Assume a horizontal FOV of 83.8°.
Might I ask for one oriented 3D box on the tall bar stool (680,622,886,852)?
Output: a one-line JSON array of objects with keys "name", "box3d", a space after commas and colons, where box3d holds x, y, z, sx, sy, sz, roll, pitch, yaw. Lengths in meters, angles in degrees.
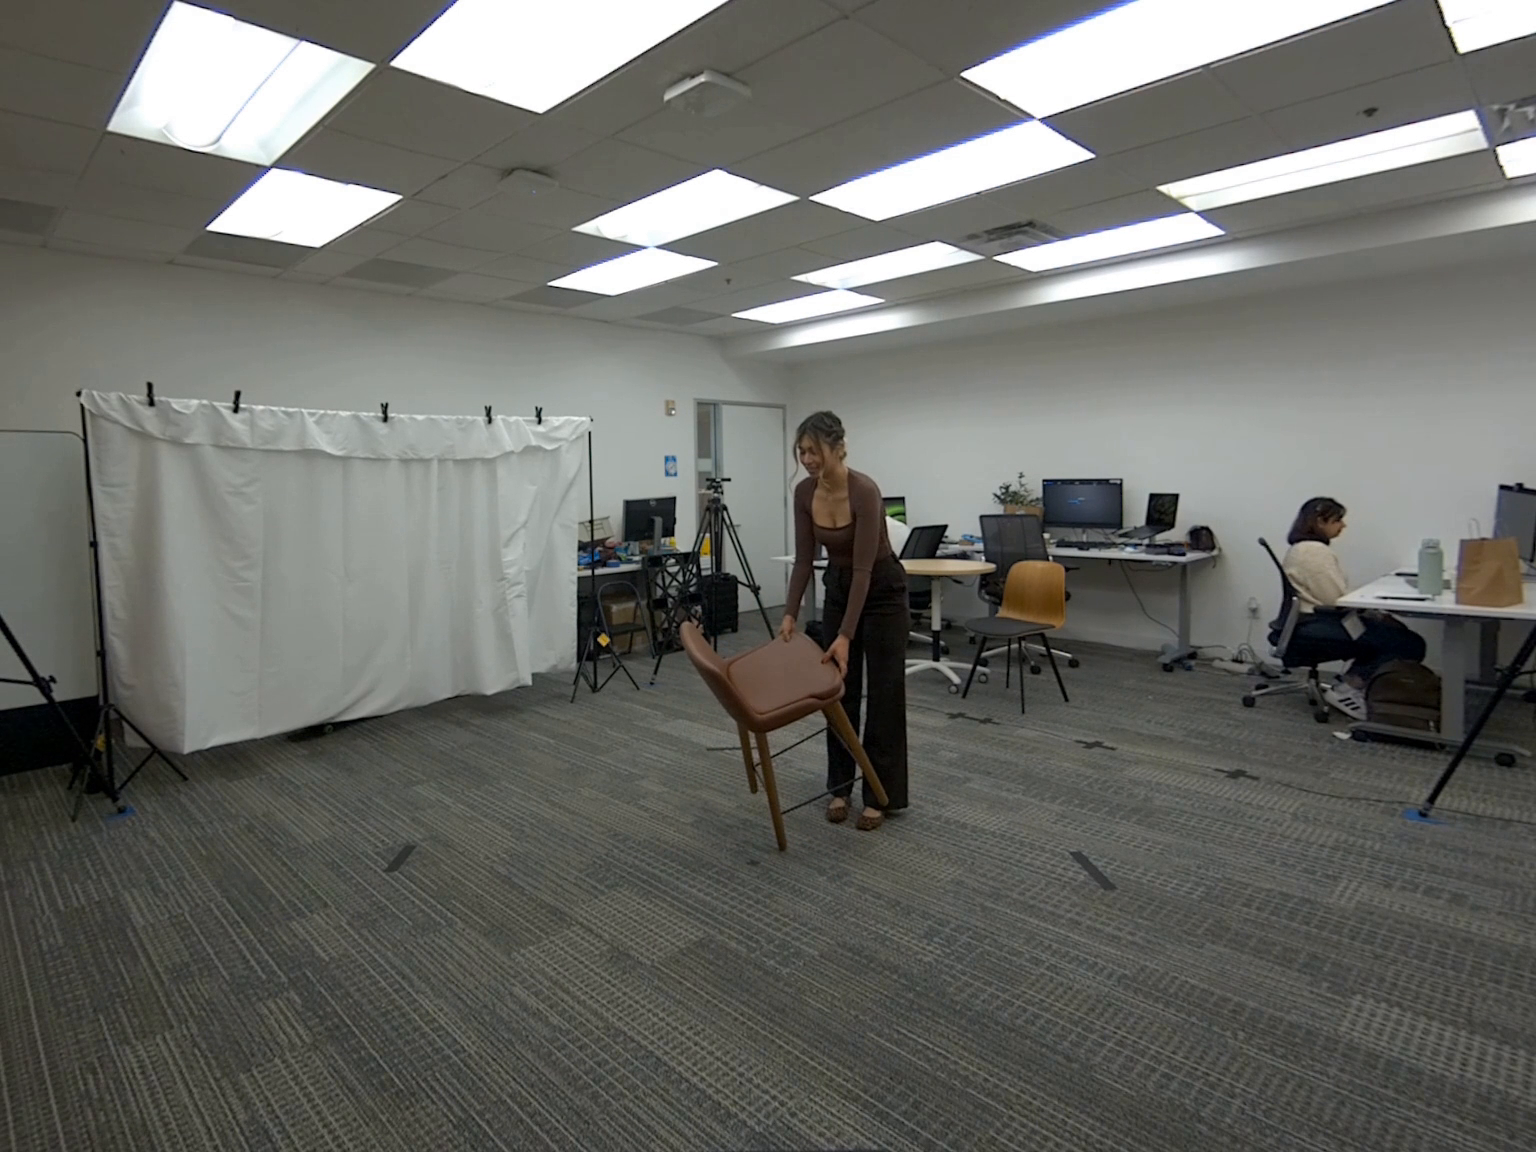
[{"name": "tall bar stool", "box3d": [0.059, 0.515, 3.217, 0.466, 0.866, 0.471, -25, 25, -8]}]
